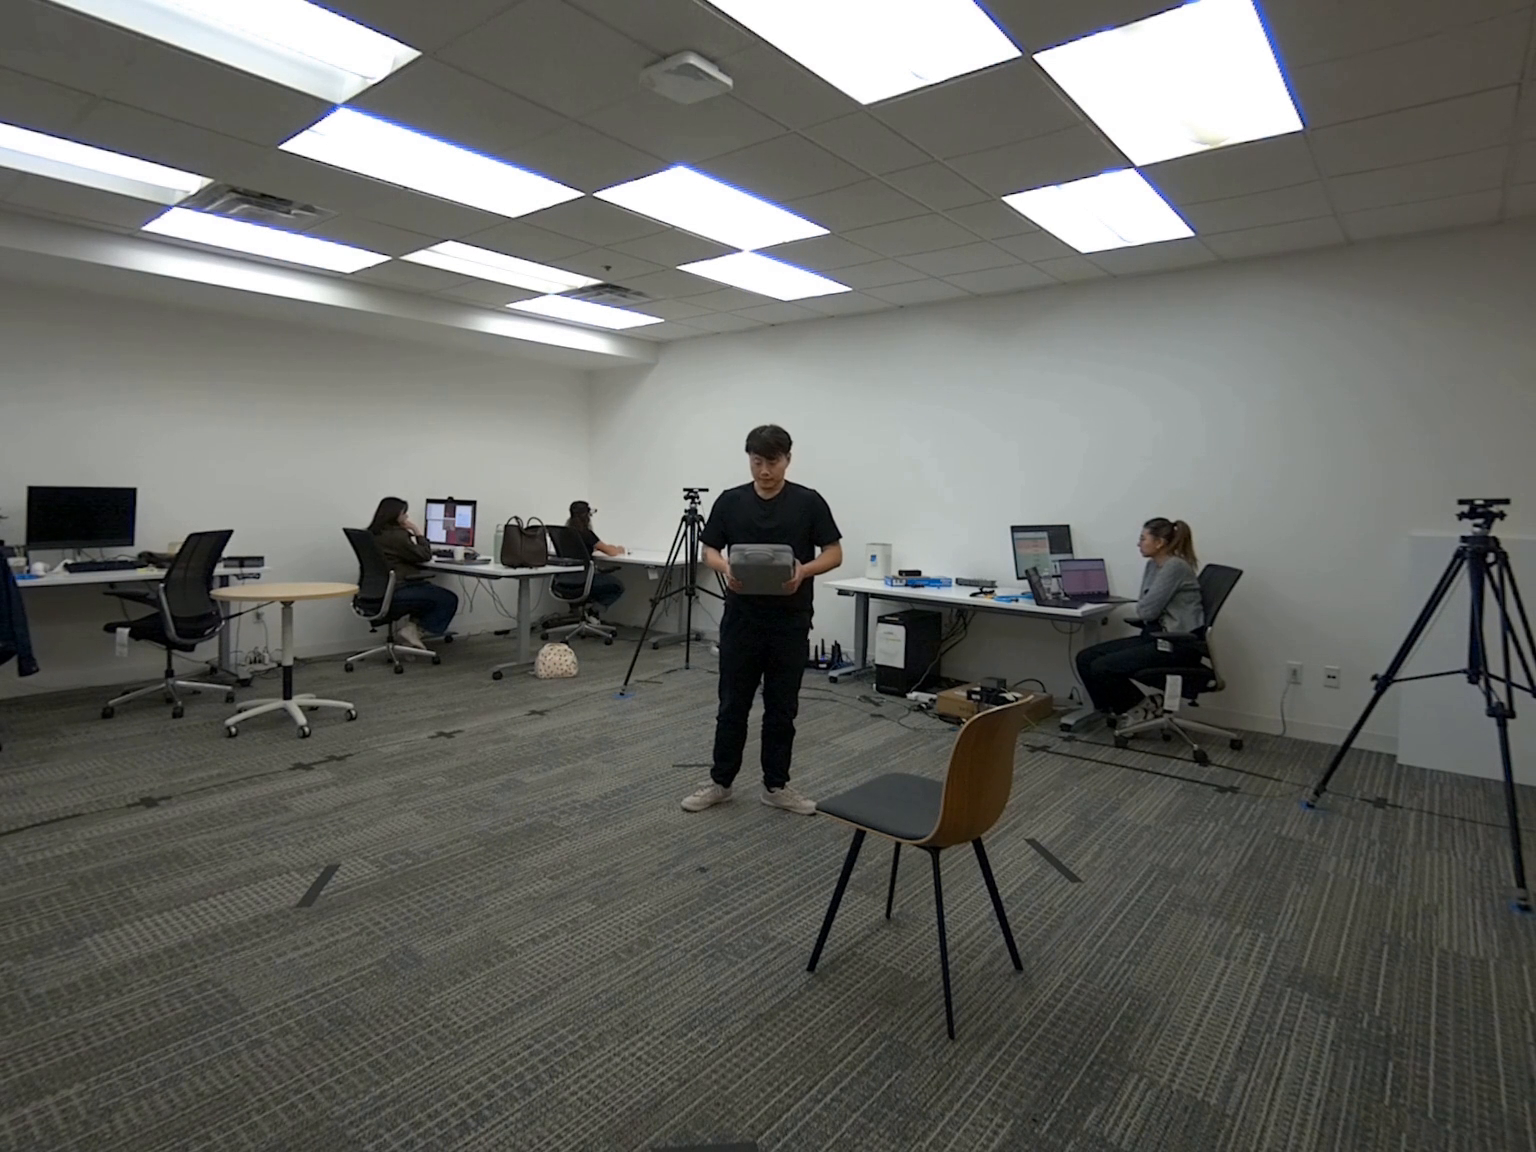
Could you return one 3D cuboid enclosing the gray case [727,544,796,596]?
[{"bbox_3d":[-0.031,-0.029,3.436,0.260,0.107,0.252,1,-32,9],"label":"gray case"}]
